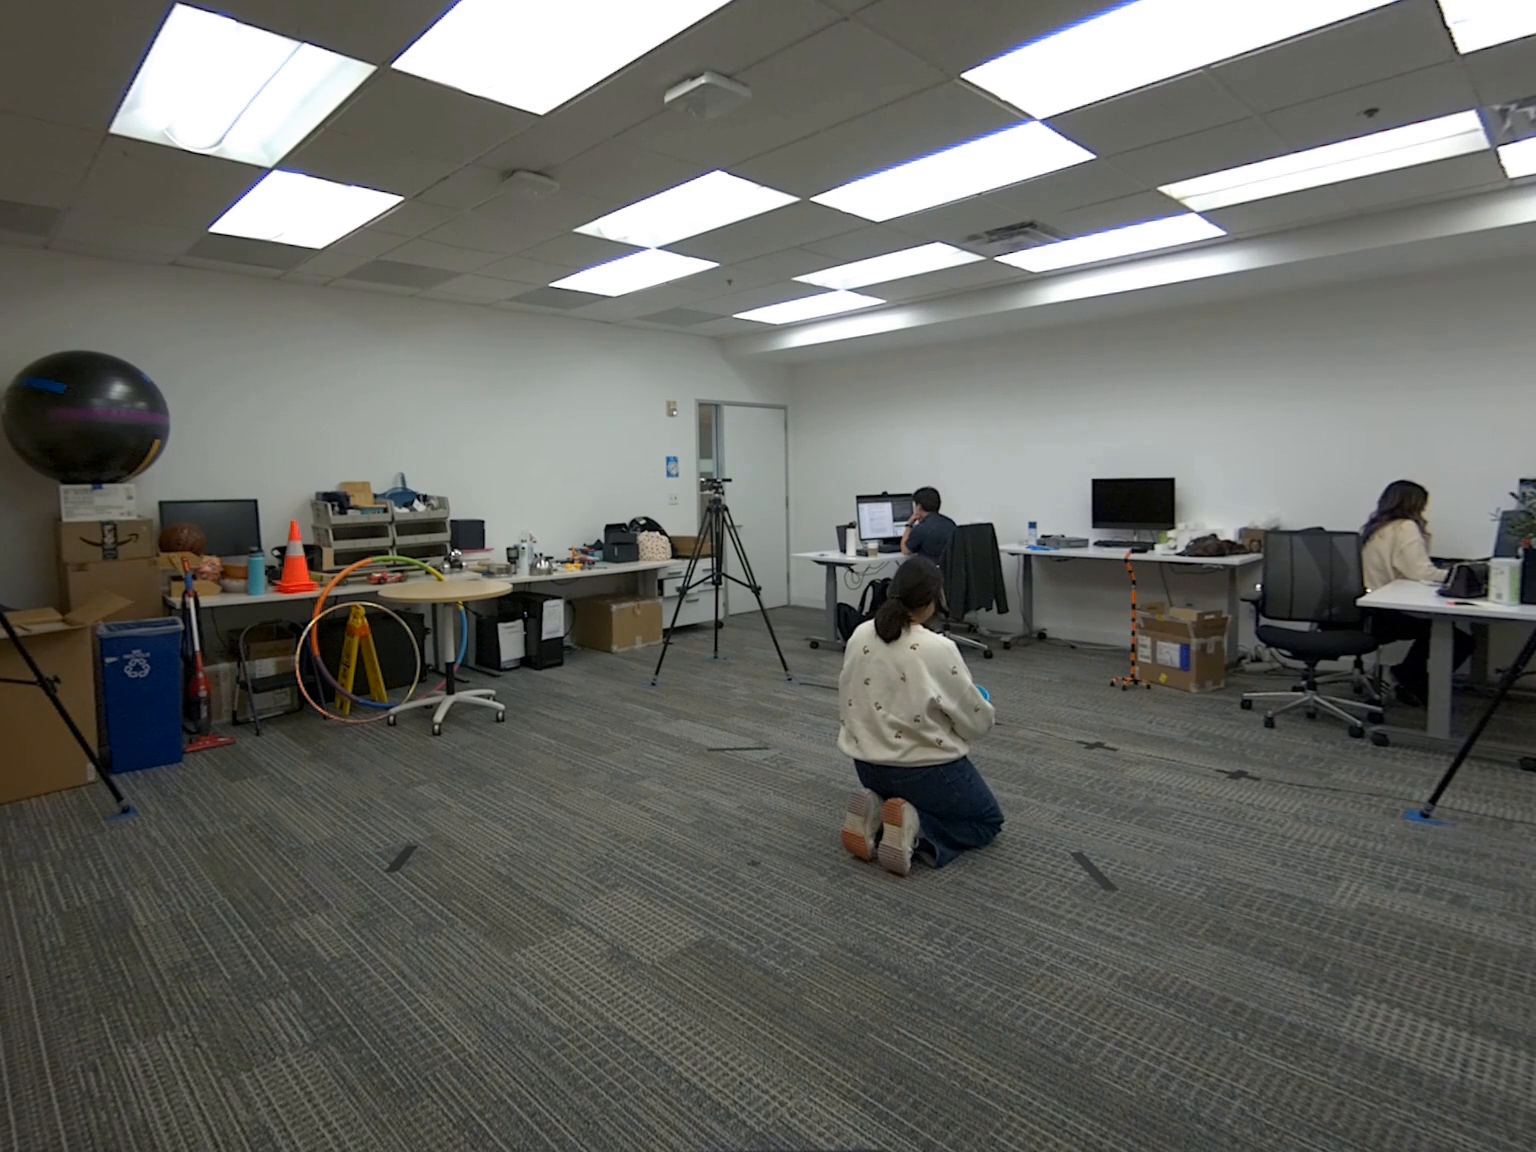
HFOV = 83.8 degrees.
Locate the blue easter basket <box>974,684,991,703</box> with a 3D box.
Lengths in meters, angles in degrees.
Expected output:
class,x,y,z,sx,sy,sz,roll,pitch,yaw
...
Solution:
class,x,y,z,sx,sy,sz,roll,pitch,yaw
blue easter basket,0.819,0.564,3.535,0.244,0.153,0.248,-8,21,1
